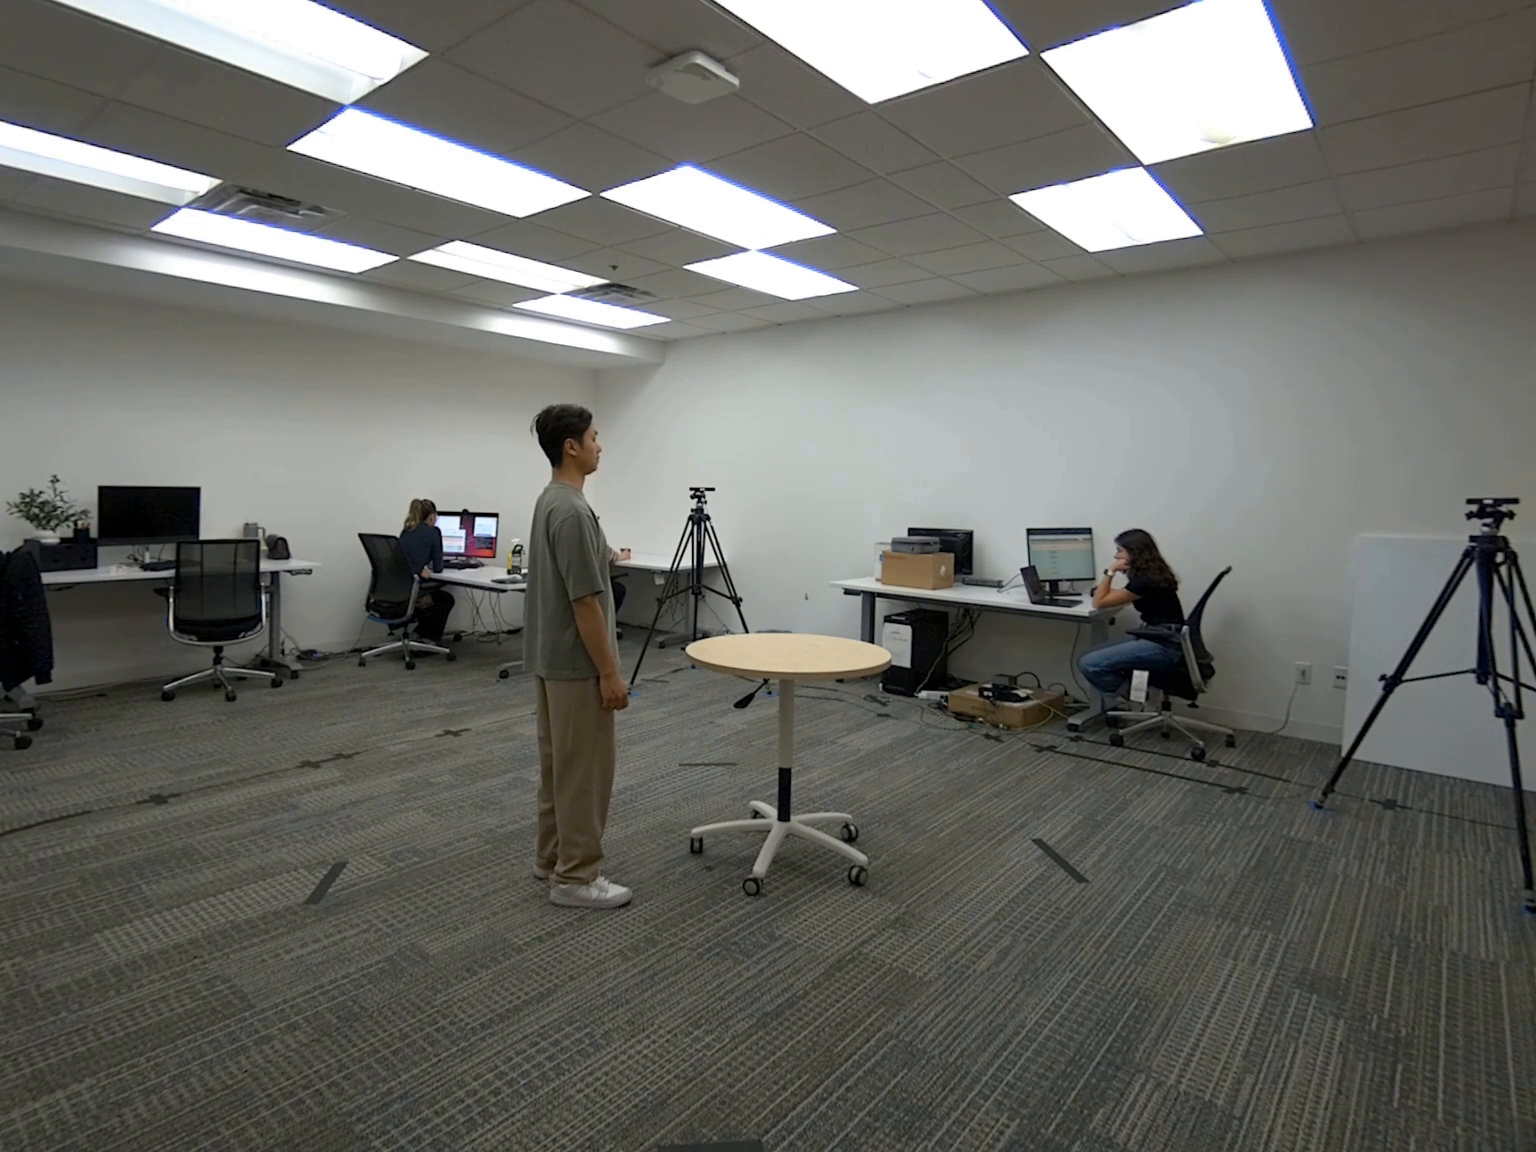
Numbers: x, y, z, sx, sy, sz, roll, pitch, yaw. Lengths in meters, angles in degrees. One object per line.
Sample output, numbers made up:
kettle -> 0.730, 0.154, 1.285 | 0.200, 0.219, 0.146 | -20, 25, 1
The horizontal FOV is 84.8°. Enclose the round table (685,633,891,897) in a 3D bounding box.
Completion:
round table -> 0.073, 0.671, 3.208 | 0.784, 0.783, 0.789 | 0, 5, -2
